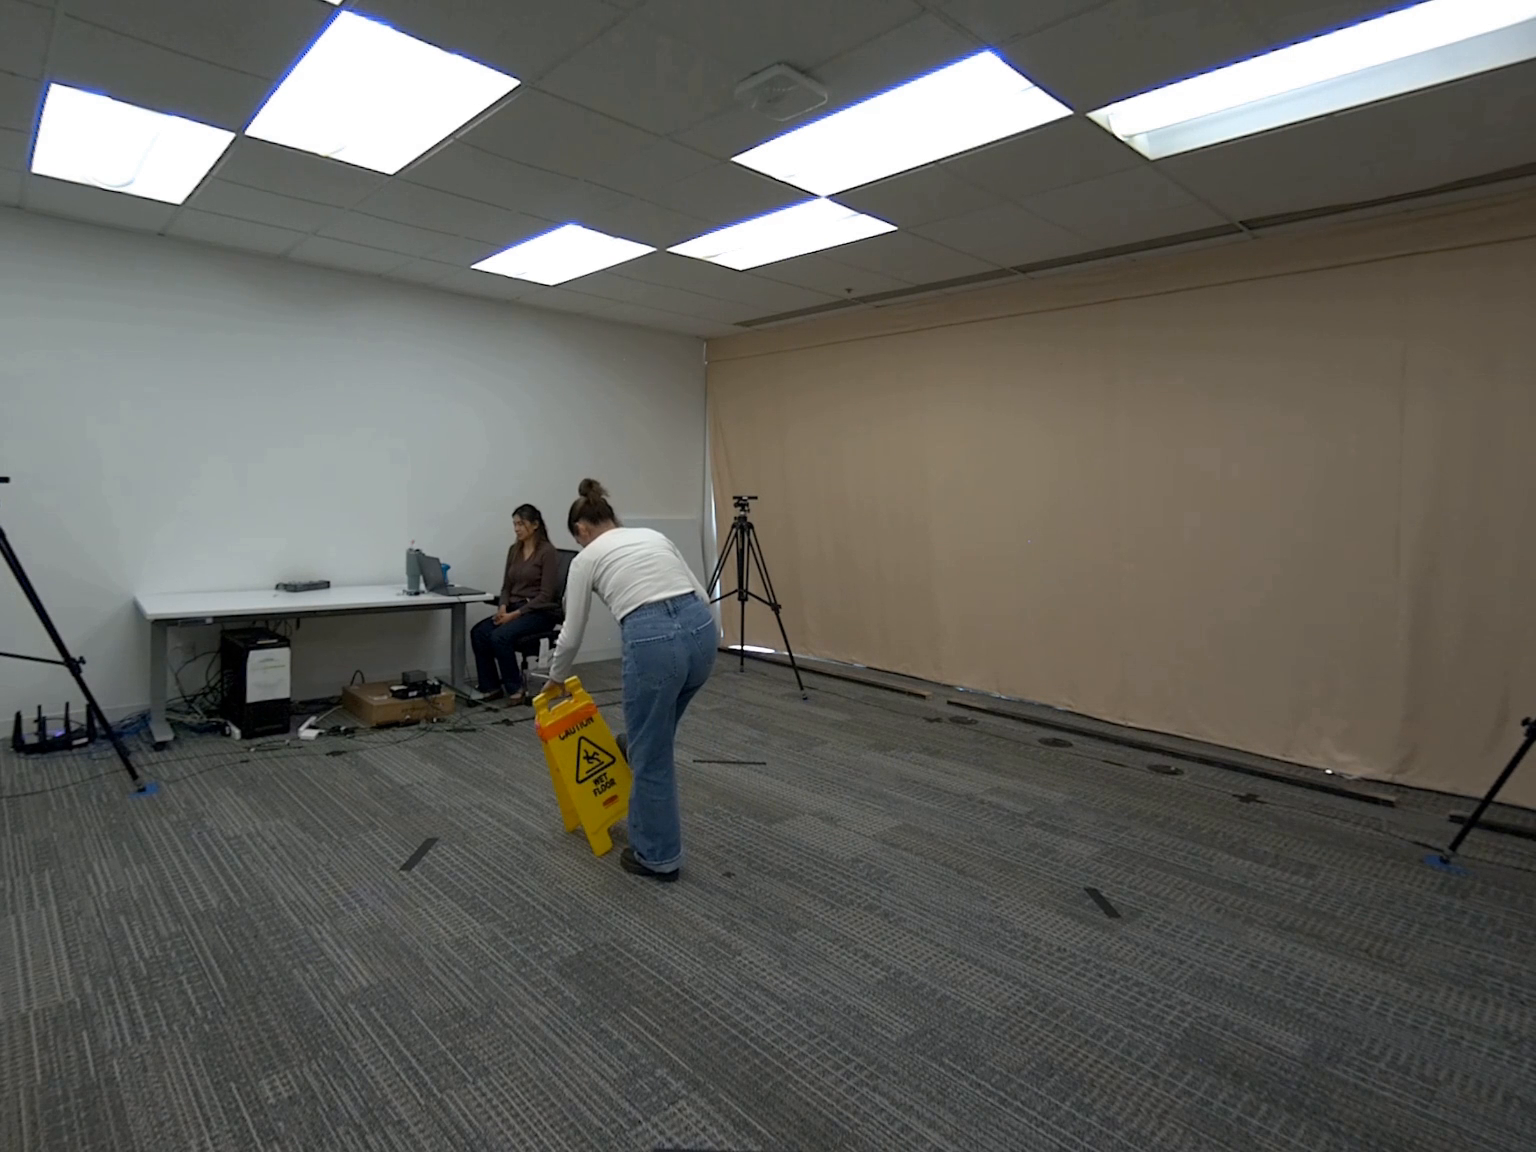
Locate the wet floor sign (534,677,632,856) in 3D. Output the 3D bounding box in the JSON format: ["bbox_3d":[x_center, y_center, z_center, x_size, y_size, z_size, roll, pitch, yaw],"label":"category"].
[{"bbox_3d":[-0.737,0.722,3.336,0.279,0.636,0.297,-28,19,-31],"label":"wet floor sign"}]
